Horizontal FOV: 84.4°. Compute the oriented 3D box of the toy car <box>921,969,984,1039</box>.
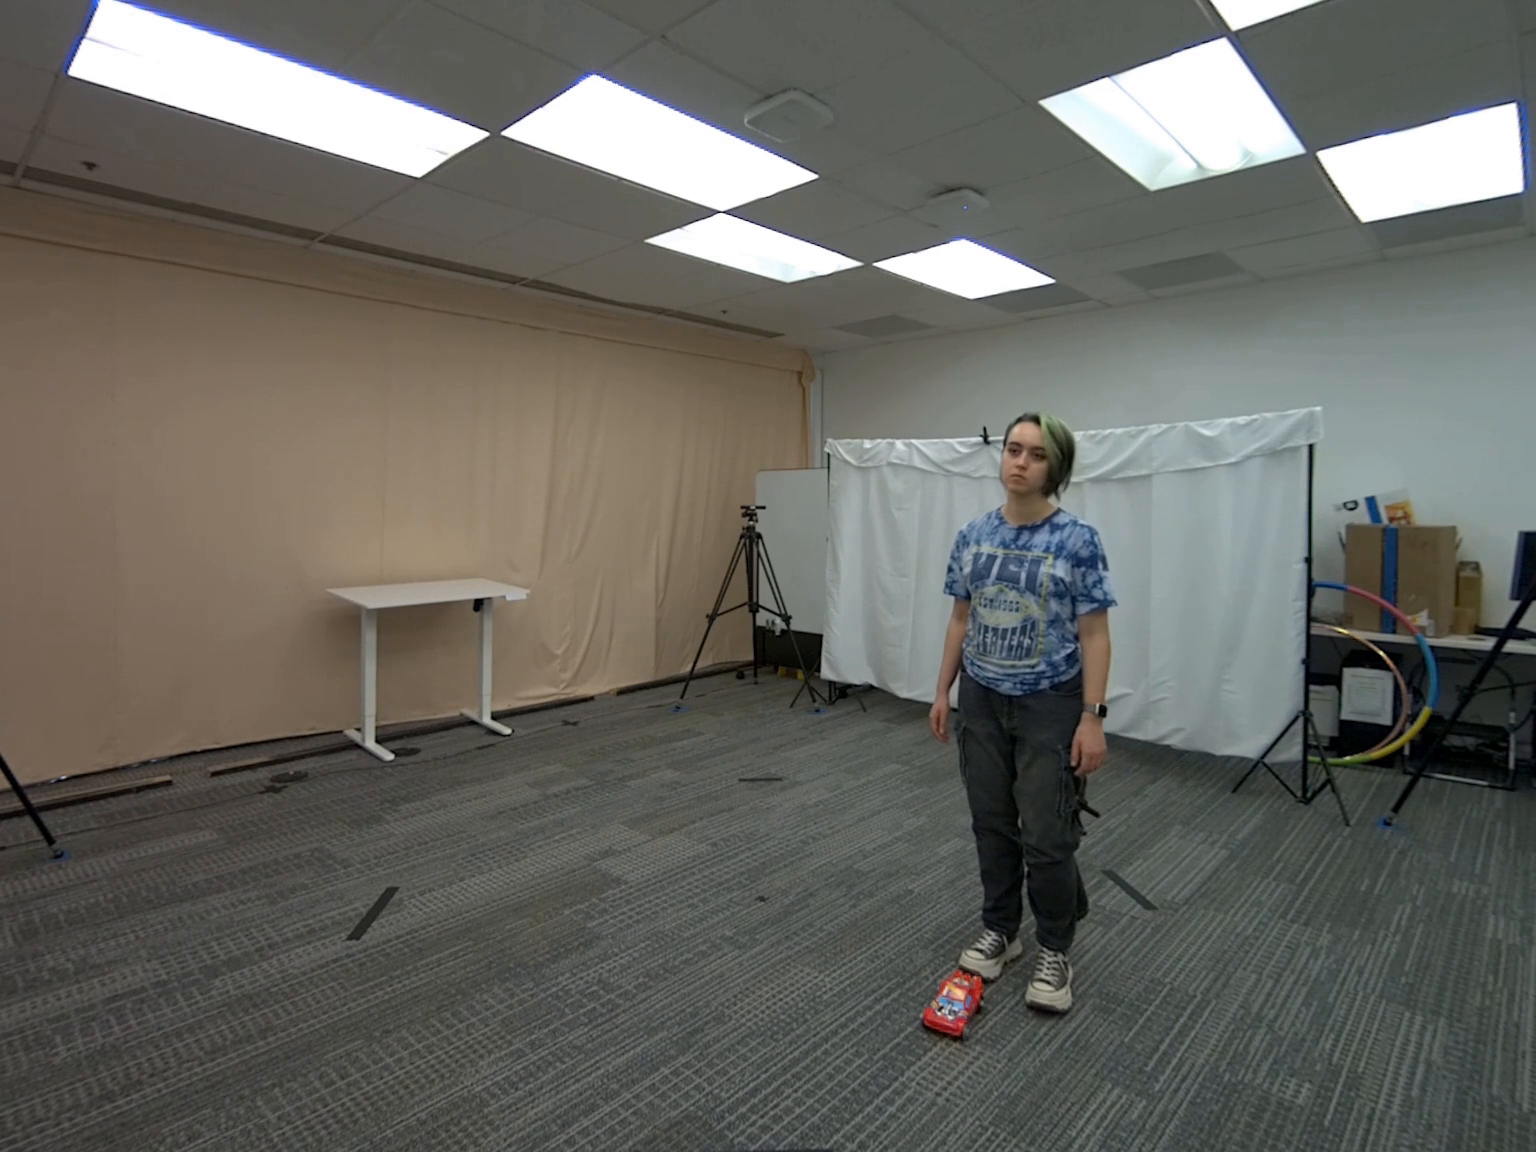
[{"bbox_3d":[0.518,1.172,2.296,0.134,0.082,0.249,1,15,31],"label":"toy car"}]
